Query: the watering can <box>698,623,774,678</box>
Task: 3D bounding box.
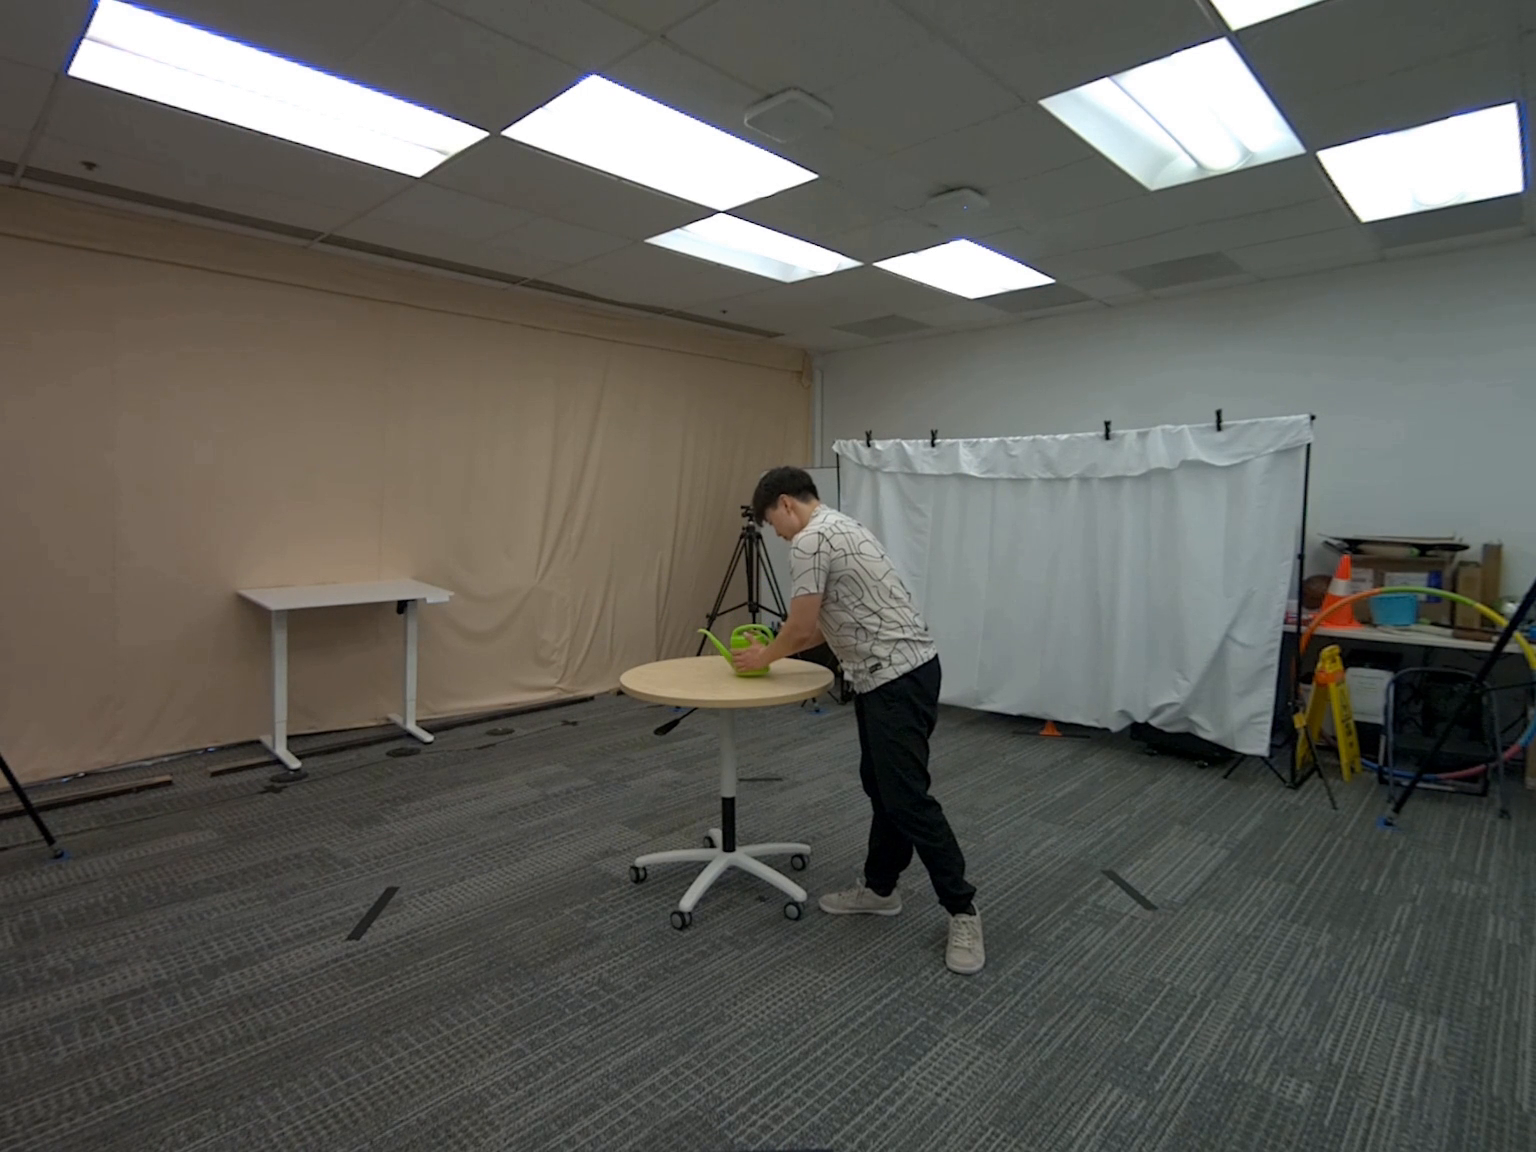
[{"bbox_3d":[-0.104,0.265,3.031,0.285,0.176,0.096,-2,5,27],"label":"watering can"}]
